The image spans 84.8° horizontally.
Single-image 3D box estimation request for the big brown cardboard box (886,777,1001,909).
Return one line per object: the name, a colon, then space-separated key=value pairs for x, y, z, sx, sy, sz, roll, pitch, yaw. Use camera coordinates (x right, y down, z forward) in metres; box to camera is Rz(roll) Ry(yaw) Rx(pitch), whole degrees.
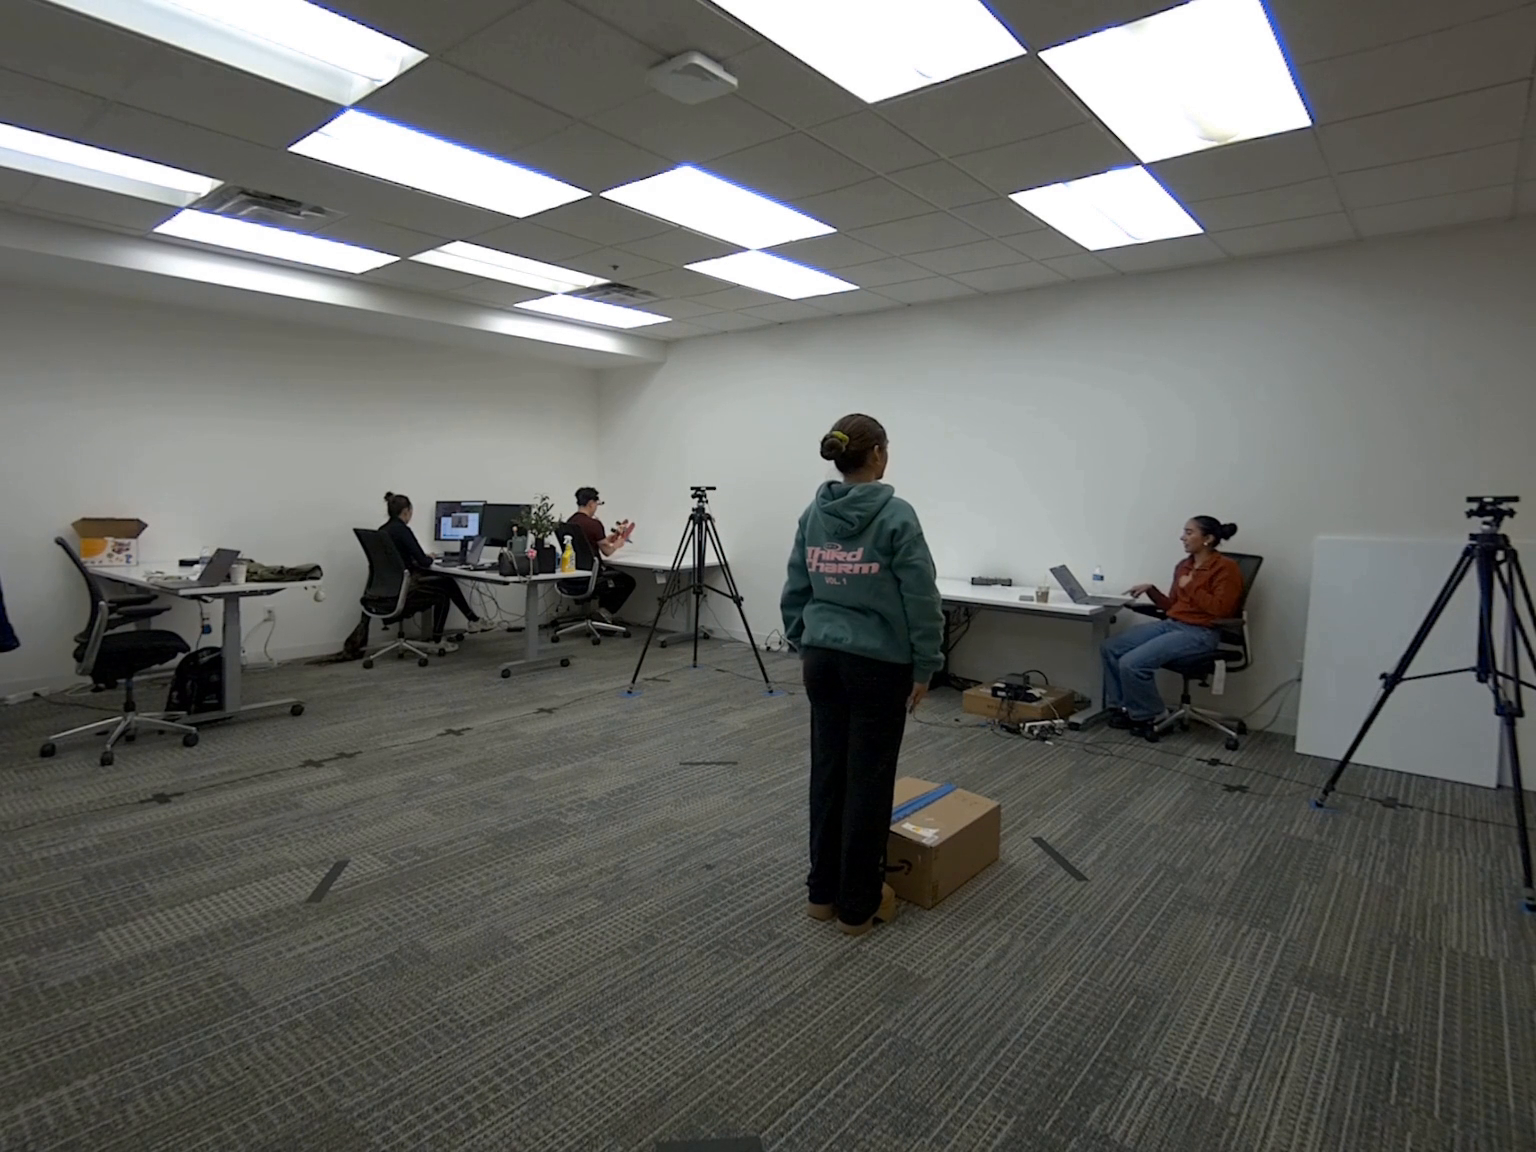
big brown cardboard box: x=0.548 y=0.969 z=3.170 sx=0.432 sy=0.232 sz=0.571 roll=6 pitch=6 yaw=39
